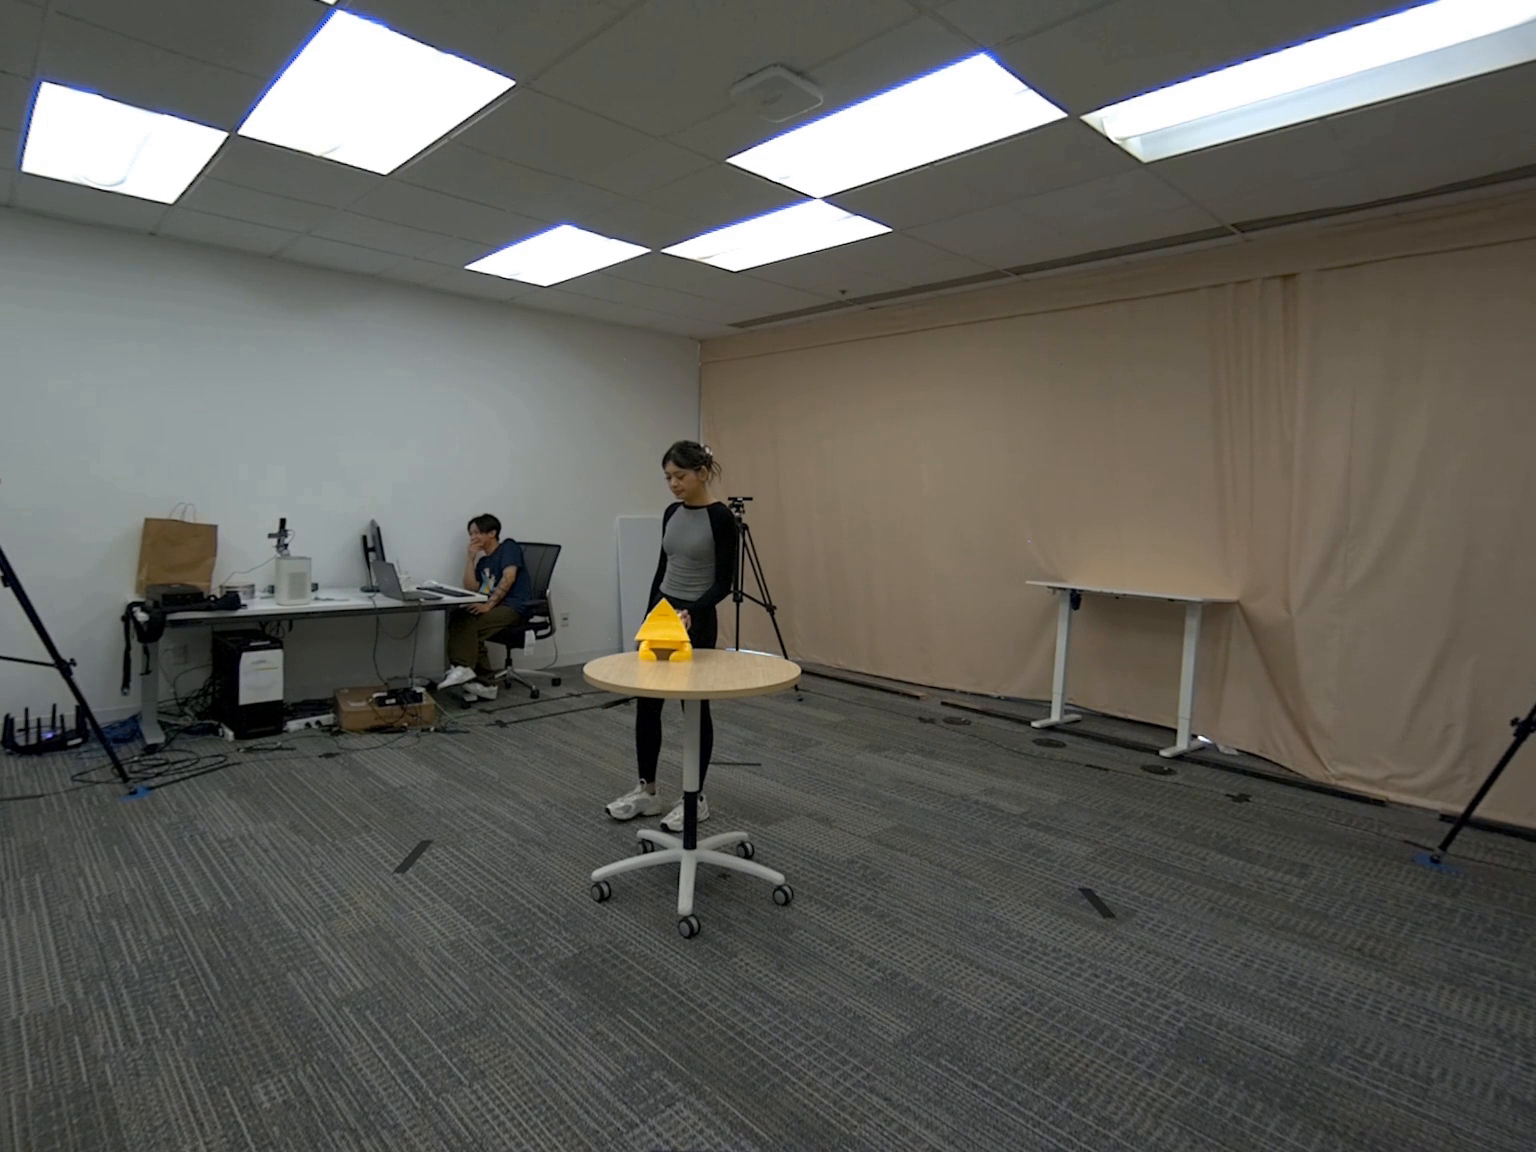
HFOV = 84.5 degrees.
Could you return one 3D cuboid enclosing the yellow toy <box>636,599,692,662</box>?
[{"bbox_3d":[-0.400,0.193,3.164,0.205,0.230,0.193,2,5,3],"label":"yellow toy"}]
